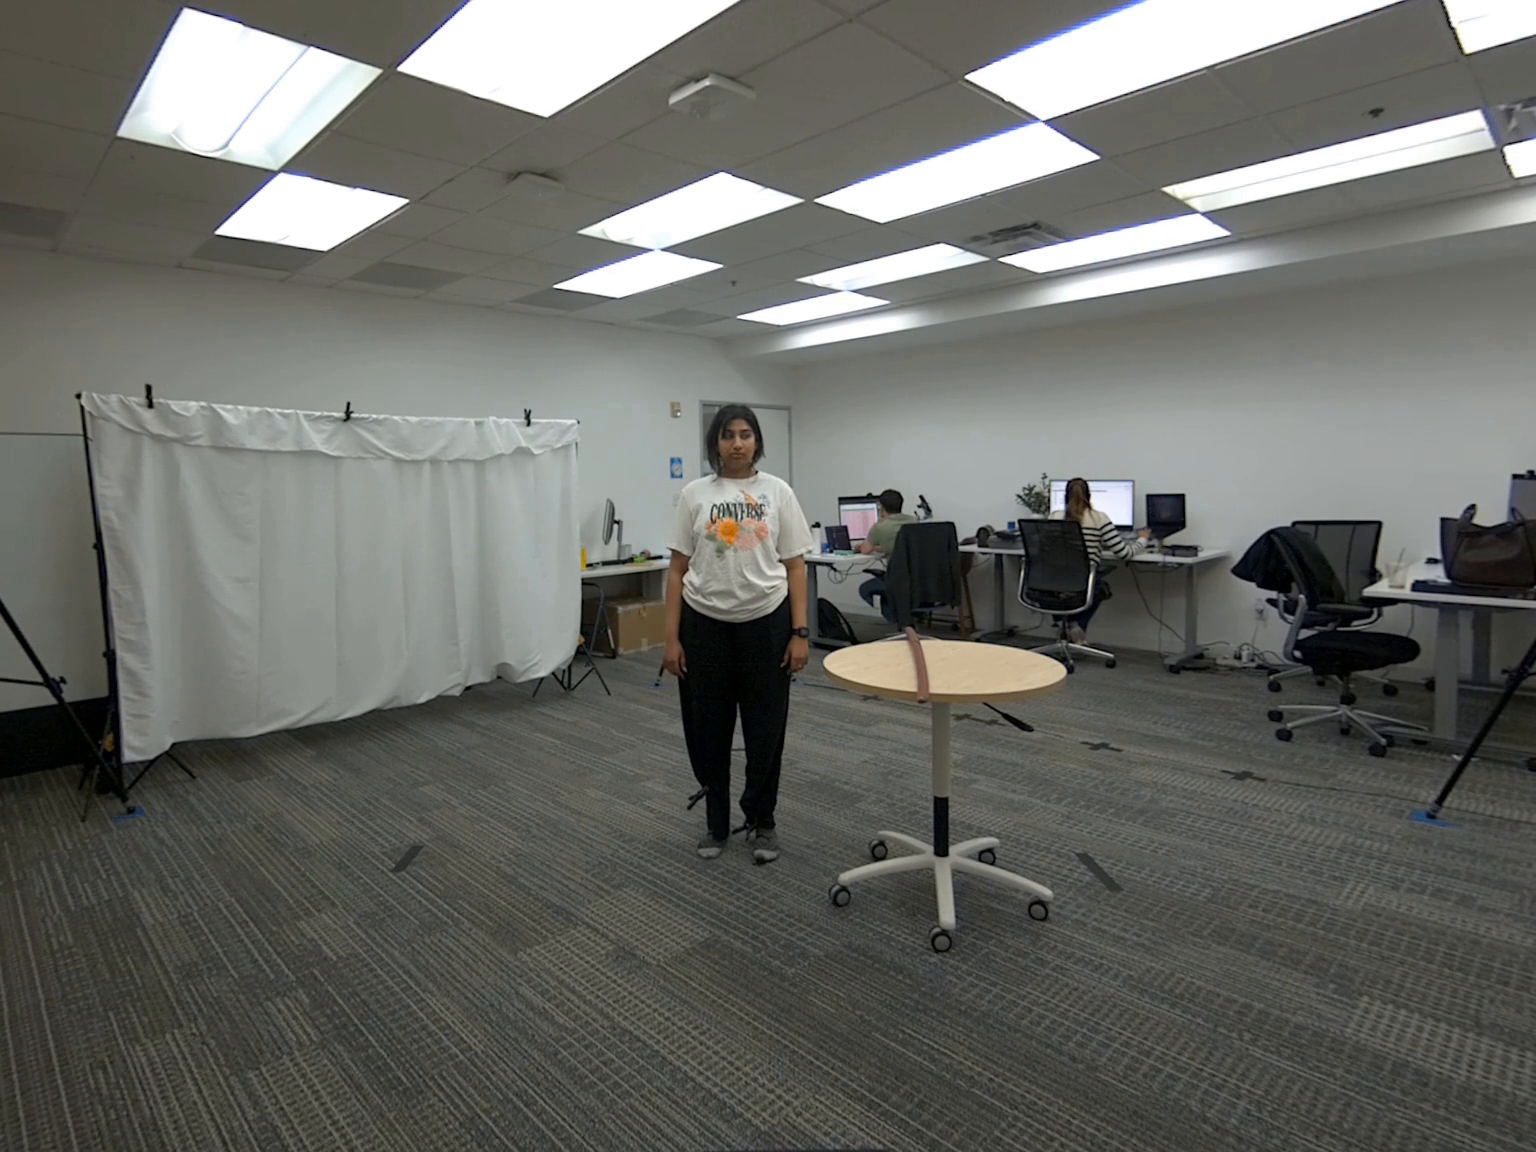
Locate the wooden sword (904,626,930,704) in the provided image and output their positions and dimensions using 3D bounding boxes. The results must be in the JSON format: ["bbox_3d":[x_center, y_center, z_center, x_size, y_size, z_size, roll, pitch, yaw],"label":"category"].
[{"bbox_3d":[0.481,0.251,2.871,0.051,0.024,1.021,37,11,2],"label":"wooden sword"}]
